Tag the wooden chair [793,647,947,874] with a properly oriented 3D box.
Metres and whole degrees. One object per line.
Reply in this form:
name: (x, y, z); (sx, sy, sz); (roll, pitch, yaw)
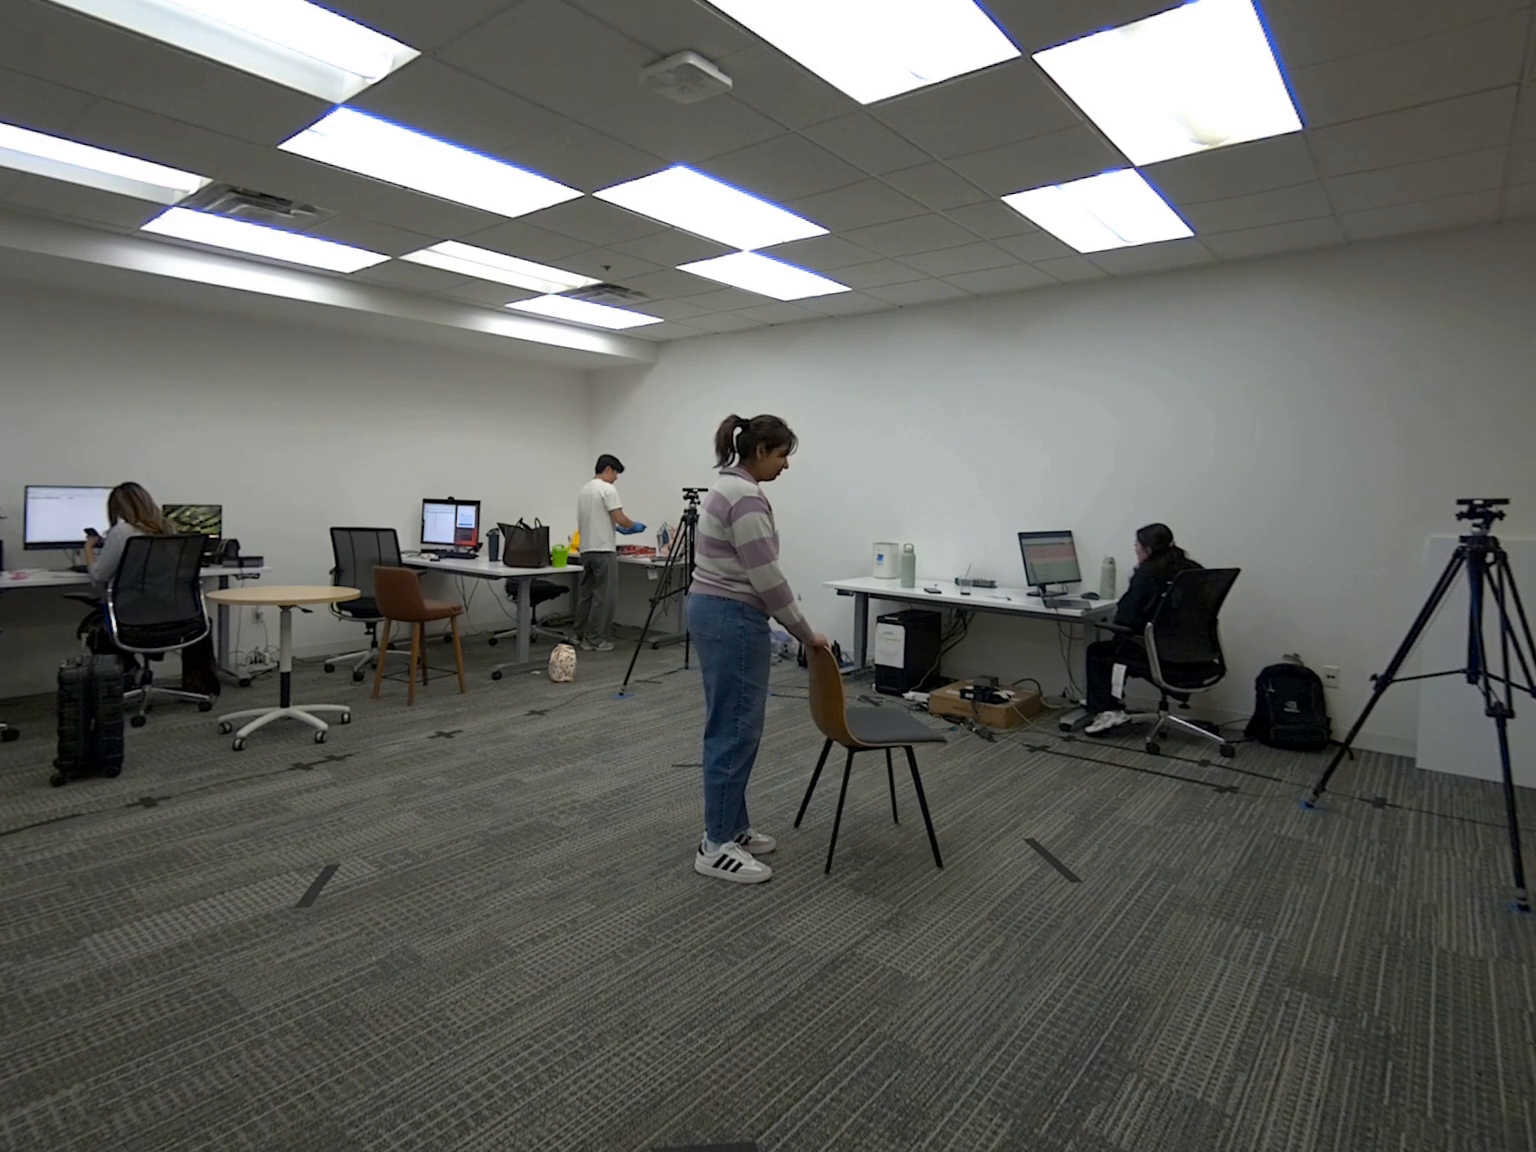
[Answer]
wooden chair: (0.391, 0.634, 3.319); (0.518, 0.874, 0.485); (-4, 4, -11)
